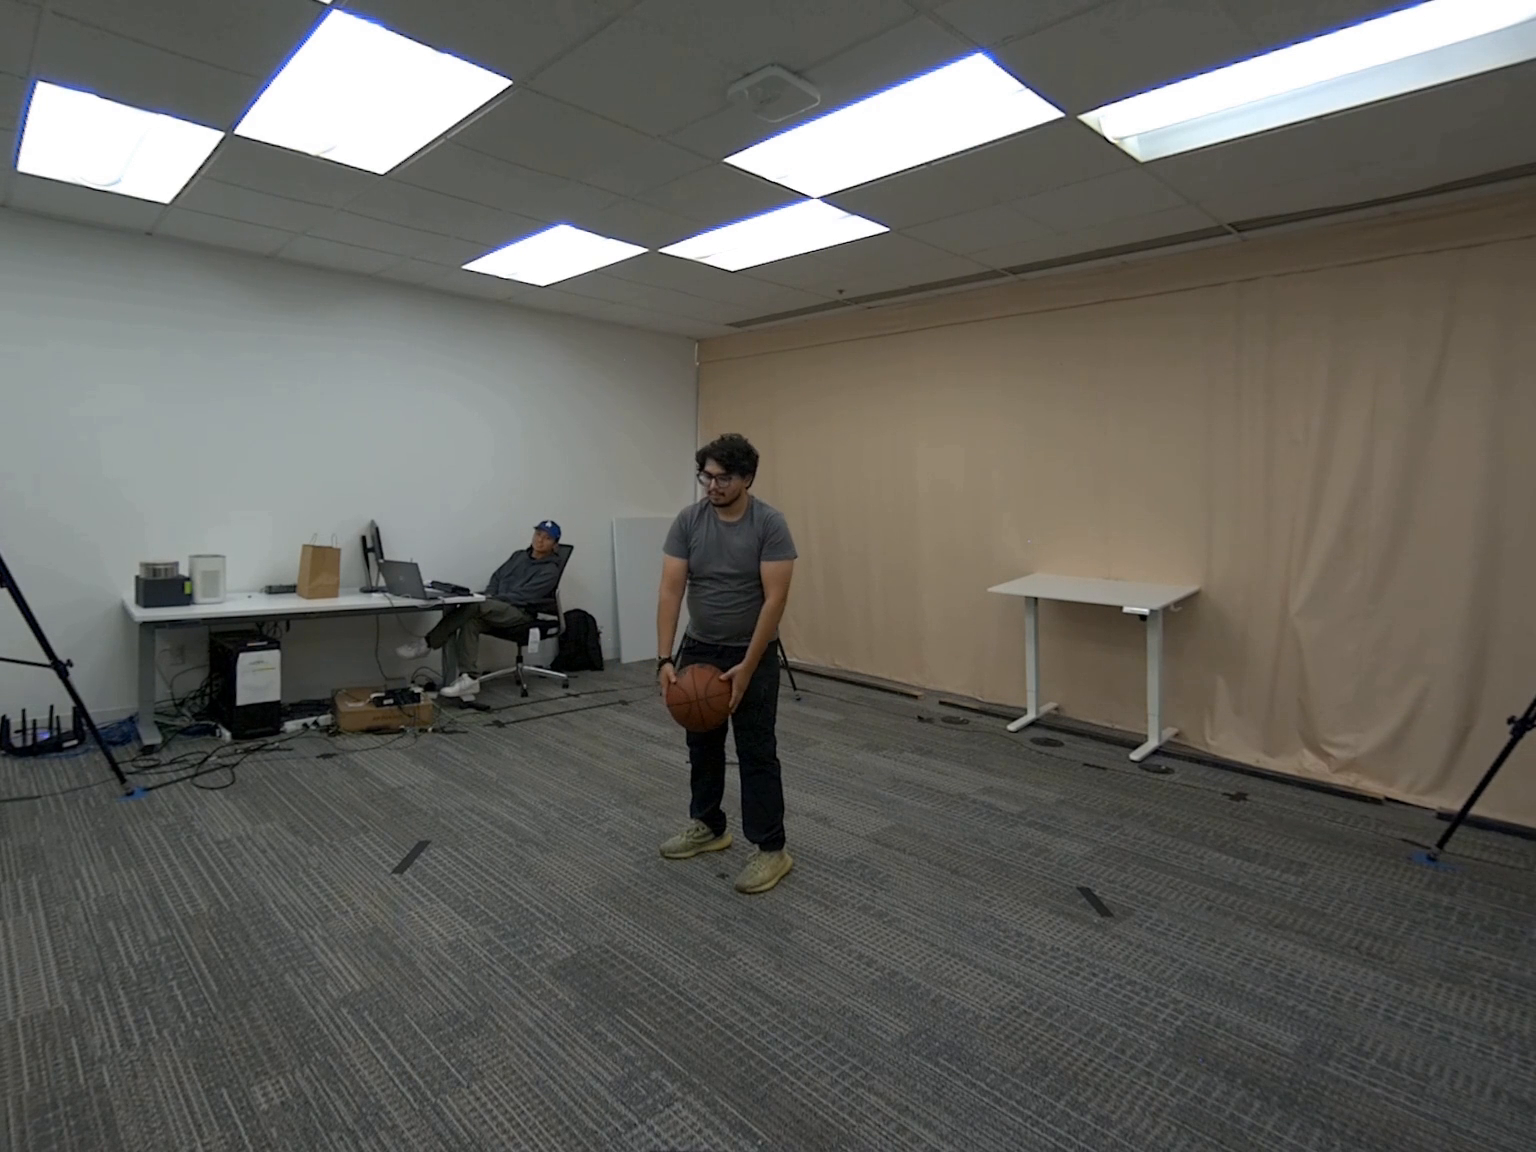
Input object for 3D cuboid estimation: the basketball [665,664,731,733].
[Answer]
[{"bbox_3d":[-0.251,0.426,2.978,0.236,0.235,0.237,1,4,-1],"label":"basketball"}]
